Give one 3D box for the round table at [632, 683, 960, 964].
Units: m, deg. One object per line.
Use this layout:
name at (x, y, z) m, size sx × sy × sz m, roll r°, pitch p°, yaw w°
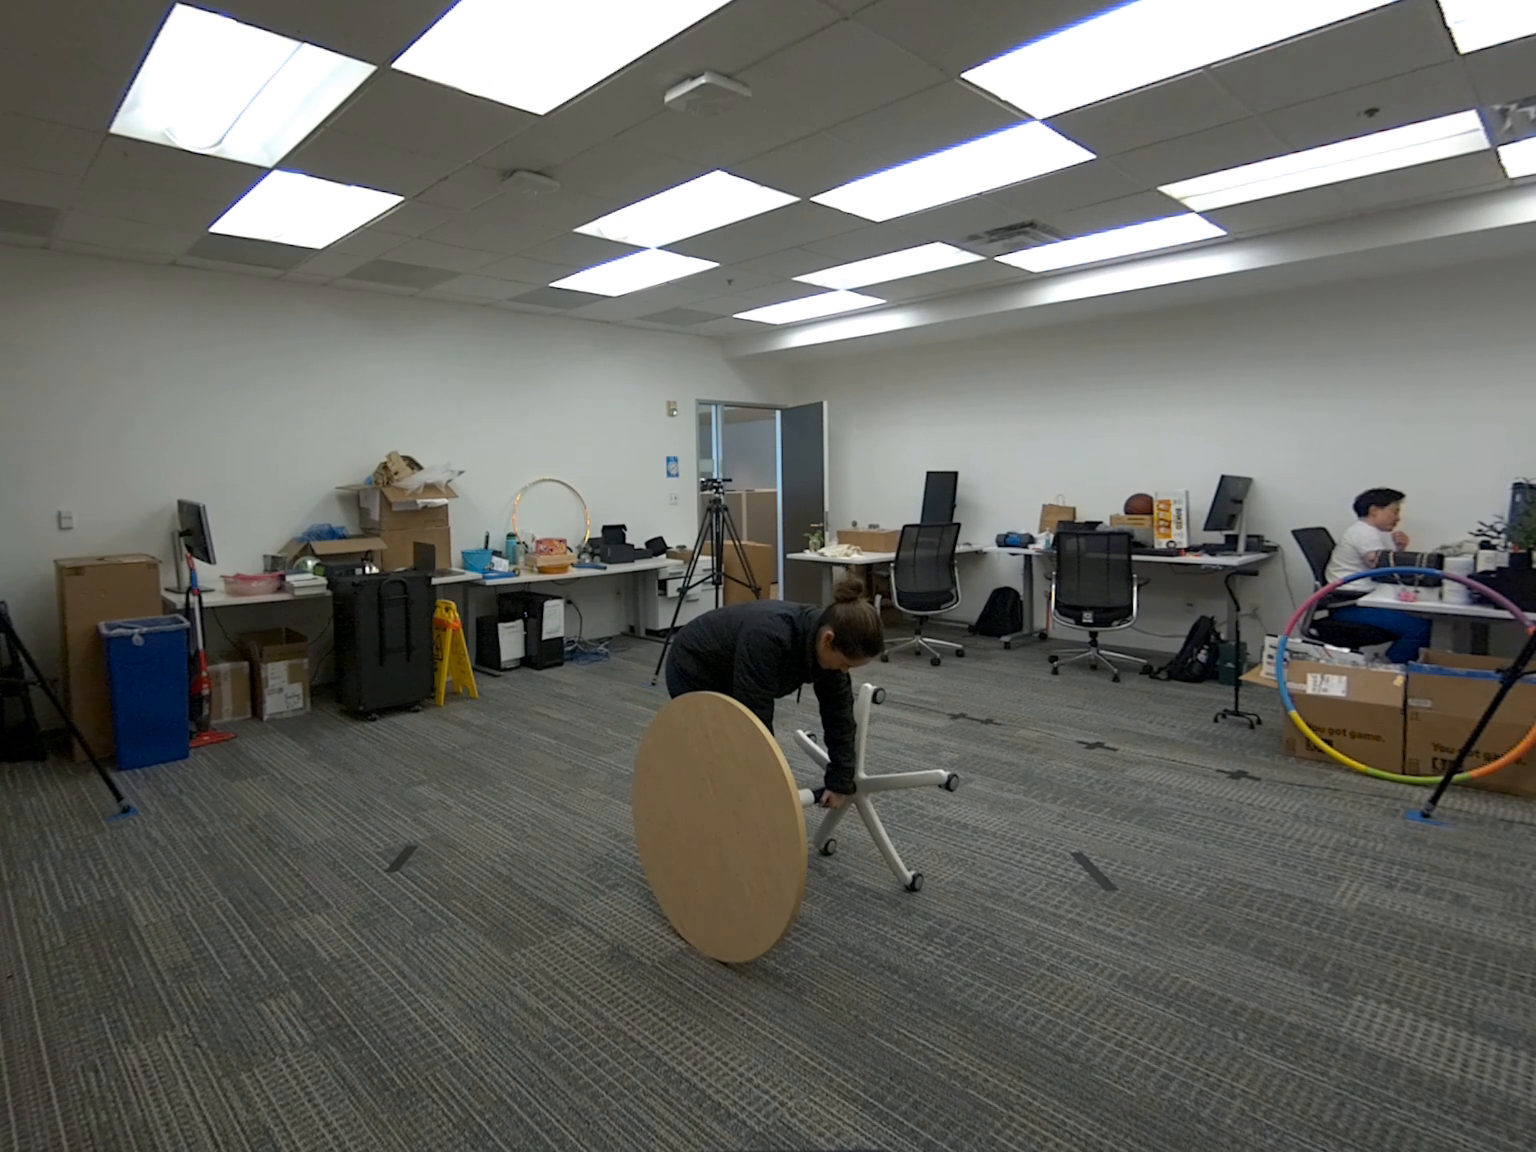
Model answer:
round table at (0.092, 0.738, 2.813) m, size 0.763 × 0.785 × 0.809 m, roll 2°, pitch 1°, yaw -44°
